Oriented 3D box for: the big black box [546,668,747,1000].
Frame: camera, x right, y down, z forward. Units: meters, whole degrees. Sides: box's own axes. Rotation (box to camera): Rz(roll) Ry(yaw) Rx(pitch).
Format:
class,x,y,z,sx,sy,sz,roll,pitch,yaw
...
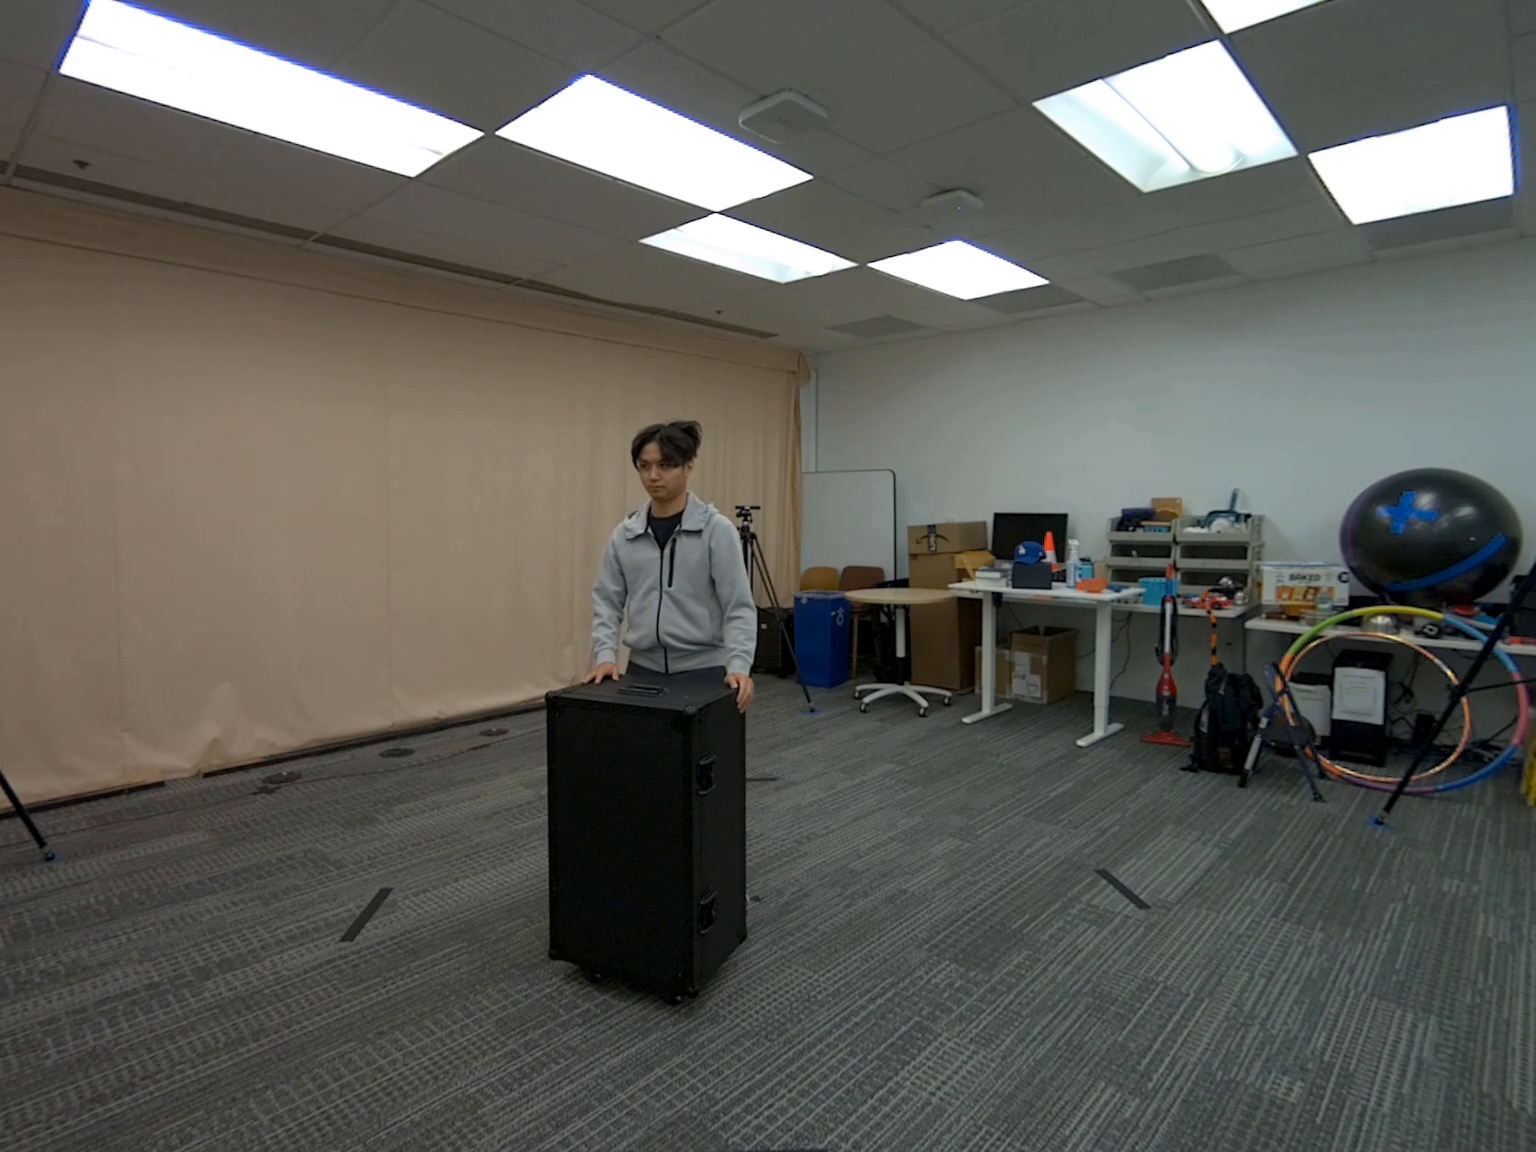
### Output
class,x,y,z,sx,sy,sz,roll,pitch,yaw
big black box,-0.349,0.758,2.514,0.534,0.860,0.387,1,2,24
